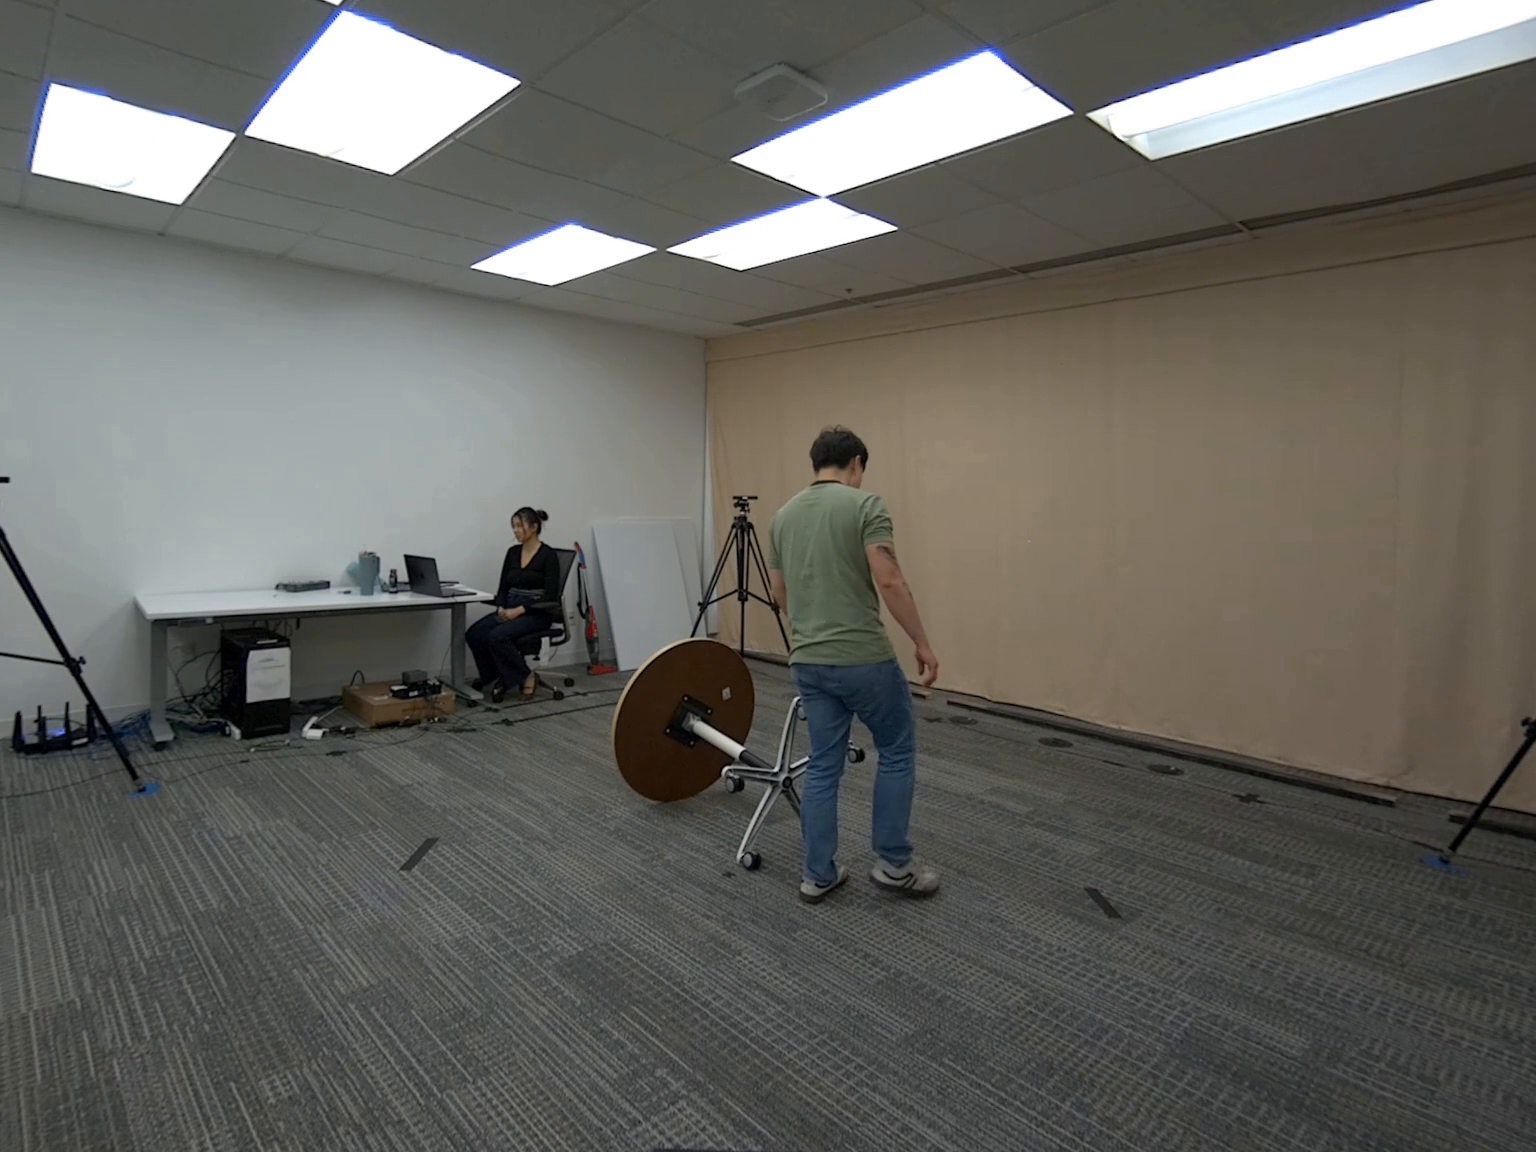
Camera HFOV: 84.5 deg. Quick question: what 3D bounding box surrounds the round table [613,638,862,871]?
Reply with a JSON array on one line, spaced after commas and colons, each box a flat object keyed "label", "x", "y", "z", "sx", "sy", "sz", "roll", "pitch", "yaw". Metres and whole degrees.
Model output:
[{"label": "round table", "x": -0.135, "y": 0.737, "z": 3.520, "sx": 0.747, "sy": 0.759, "sz": 0.817, "roll": -2, "pitch": 13, "yaw": -38}]
